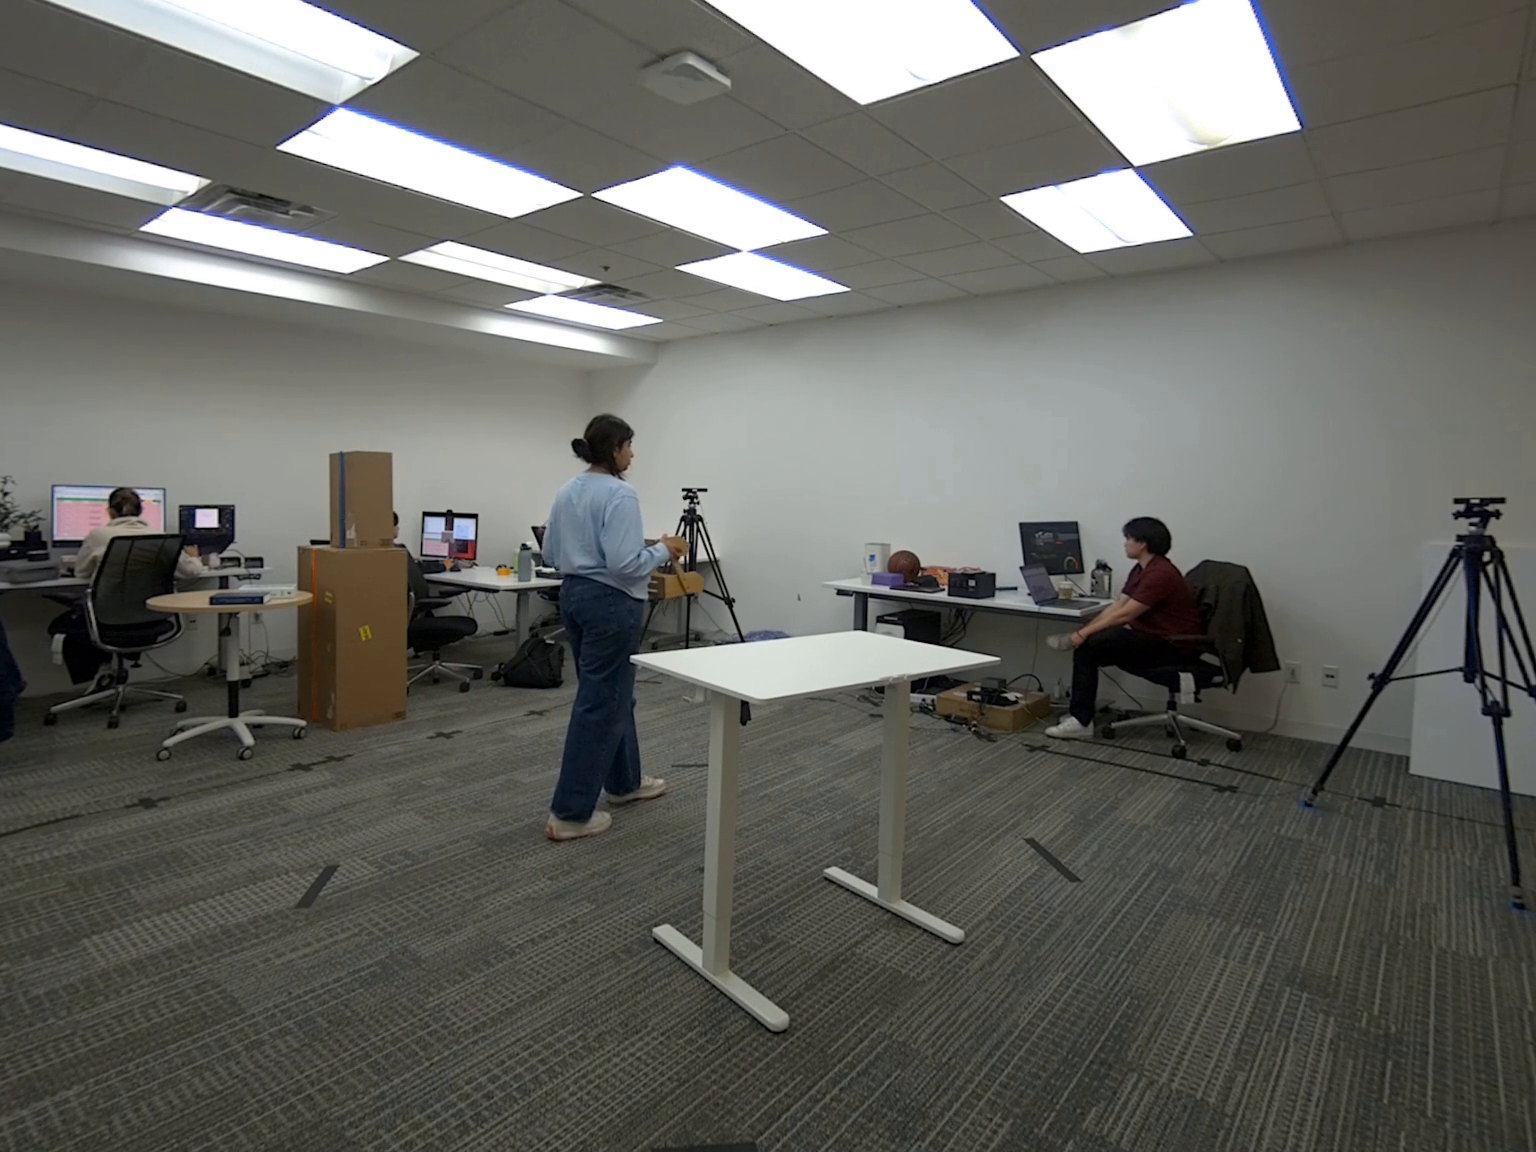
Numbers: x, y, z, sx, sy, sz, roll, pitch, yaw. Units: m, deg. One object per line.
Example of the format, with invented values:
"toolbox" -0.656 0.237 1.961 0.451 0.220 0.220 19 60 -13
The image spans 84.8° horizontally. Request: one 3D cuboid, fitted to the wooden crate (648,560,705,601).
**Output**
"wooden crate" -0.497 -0.067 3.747 0.336 0.271 0.294 6 11 41
